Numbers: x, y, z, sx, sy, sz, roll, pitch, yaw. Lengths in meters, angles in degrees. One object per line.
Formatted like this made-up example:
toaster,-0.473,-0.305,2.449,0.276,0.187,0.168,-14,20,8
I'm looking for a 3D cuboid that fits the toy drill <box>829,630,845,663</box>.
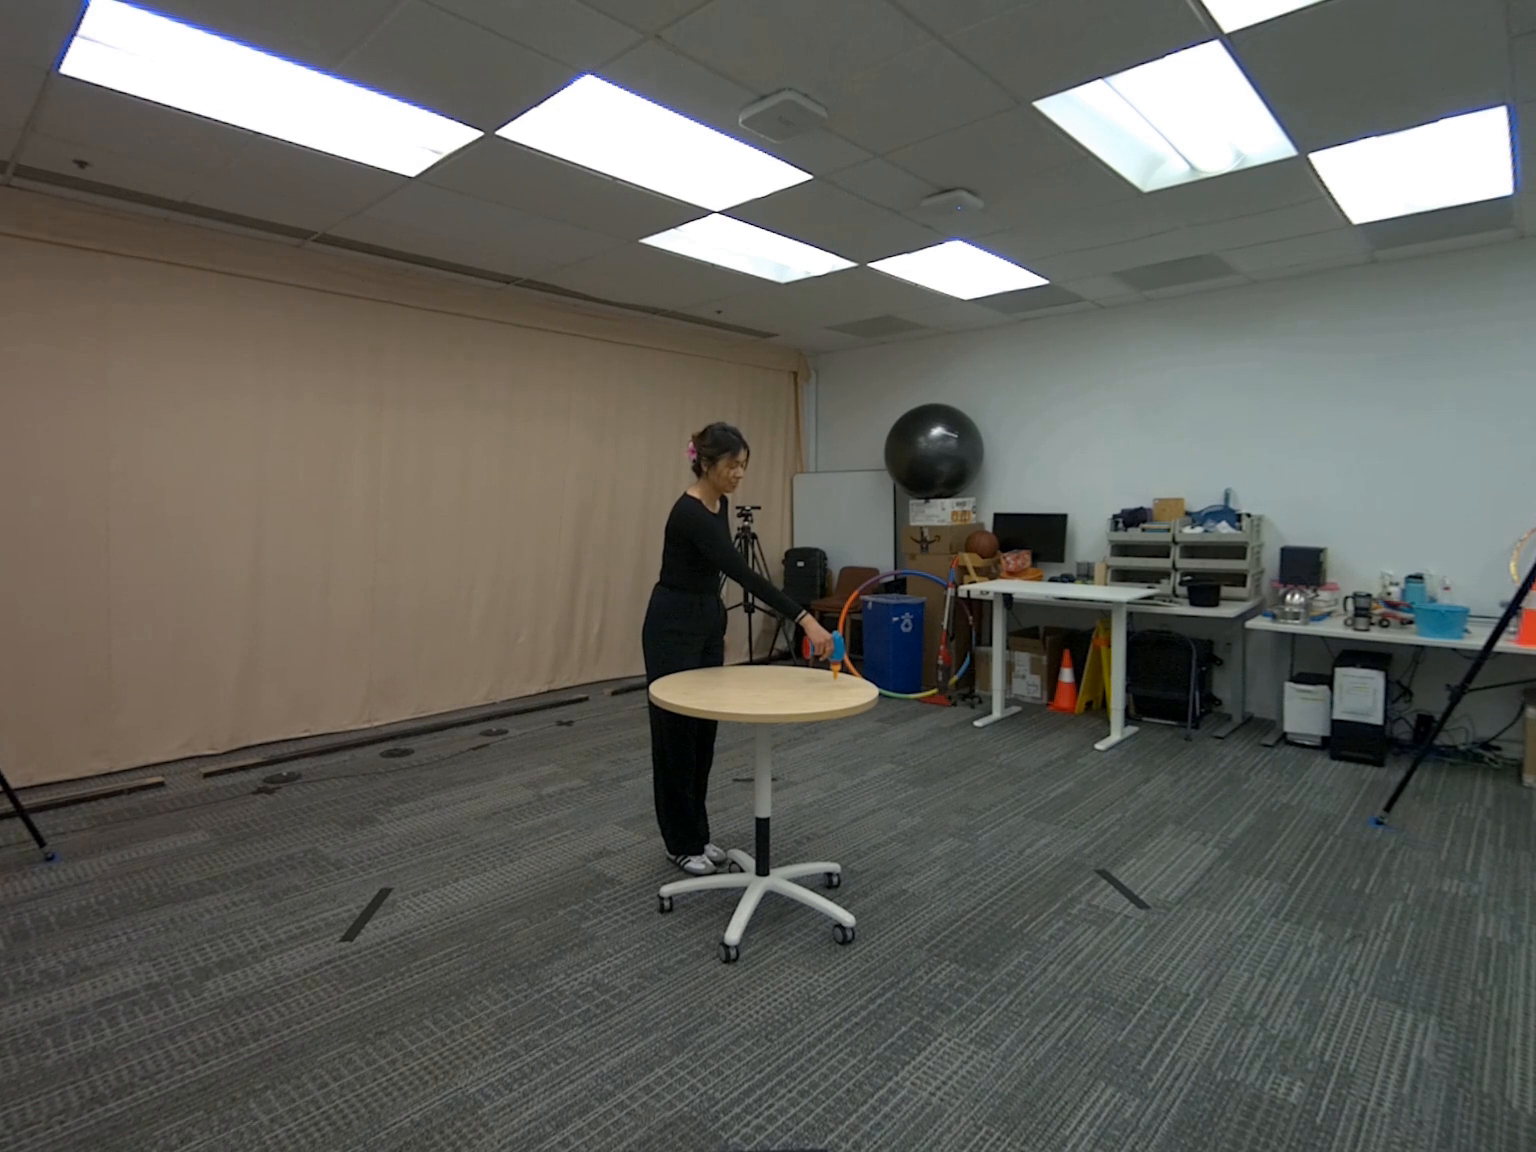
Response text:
toy drill,0.204,0.277,2.870,0.144,0.169,0.062,-5,10,-17
